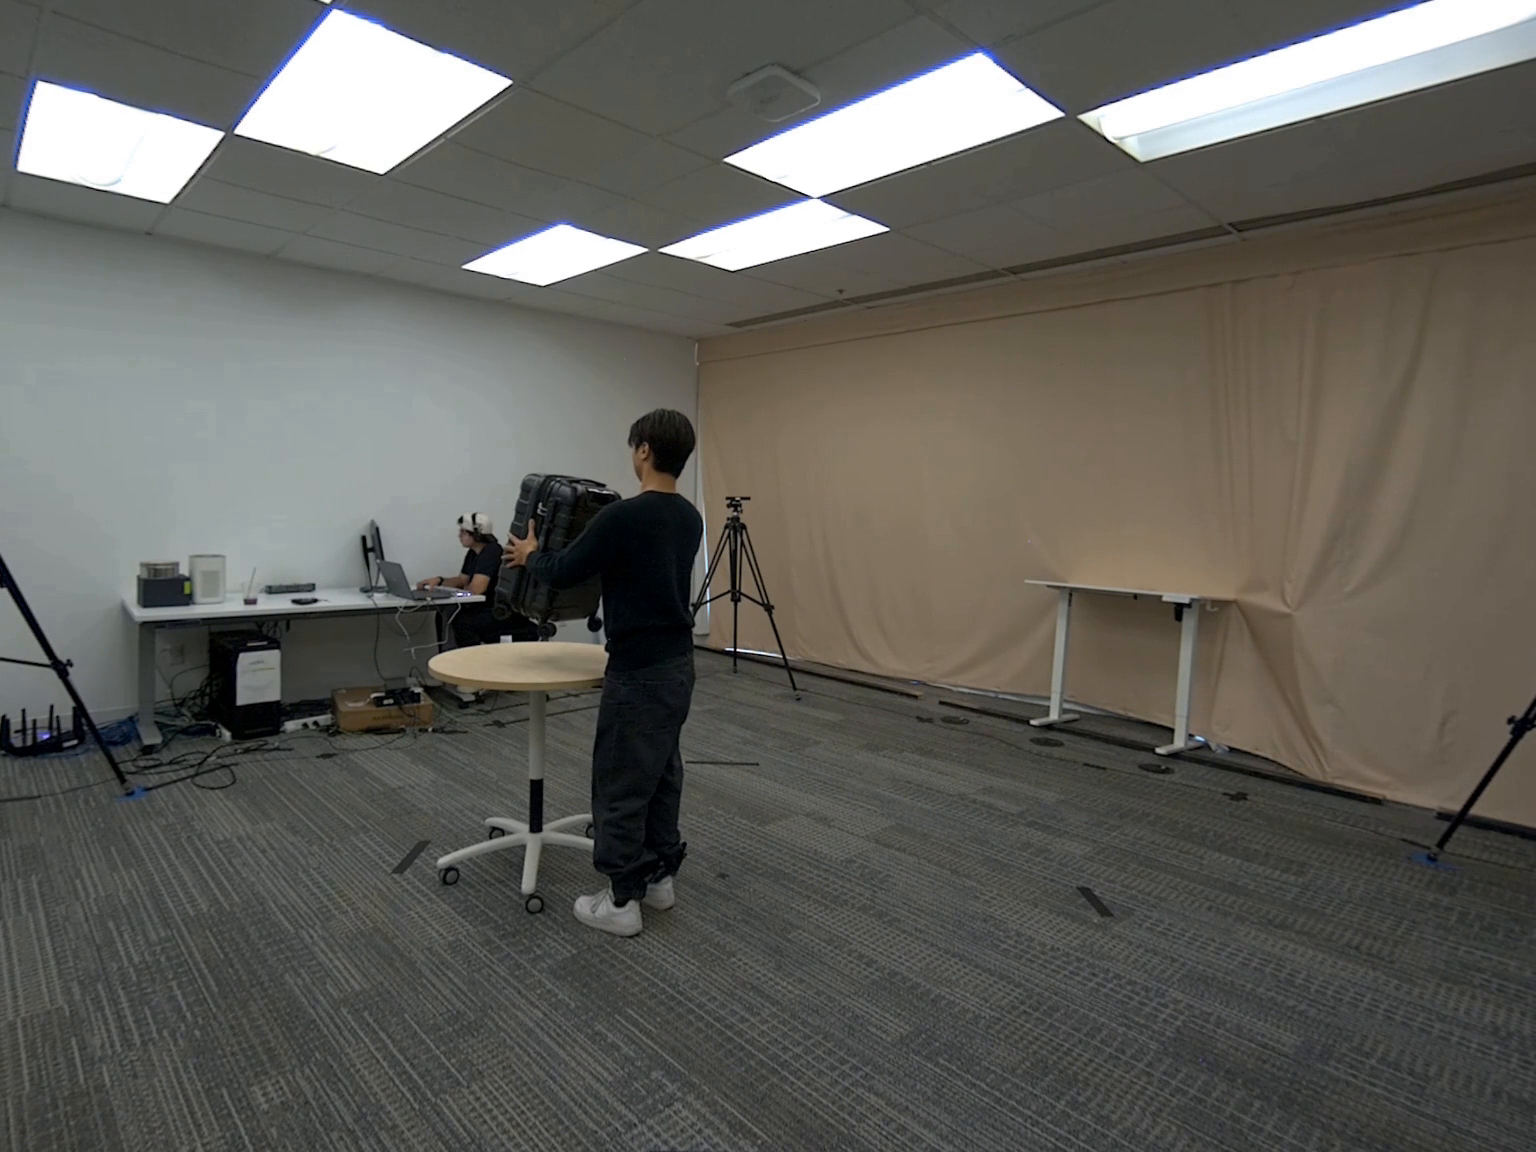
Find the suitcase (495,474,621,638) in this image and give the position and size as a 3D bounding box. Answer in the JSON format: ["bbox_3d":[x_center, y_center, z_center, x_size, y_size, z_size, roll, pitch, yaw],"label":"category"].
[{"bbox_3d":[-0.755,-0.095,3.050,0.254,0.547,0.368,17,7,26],"label":"suitcase"}]
